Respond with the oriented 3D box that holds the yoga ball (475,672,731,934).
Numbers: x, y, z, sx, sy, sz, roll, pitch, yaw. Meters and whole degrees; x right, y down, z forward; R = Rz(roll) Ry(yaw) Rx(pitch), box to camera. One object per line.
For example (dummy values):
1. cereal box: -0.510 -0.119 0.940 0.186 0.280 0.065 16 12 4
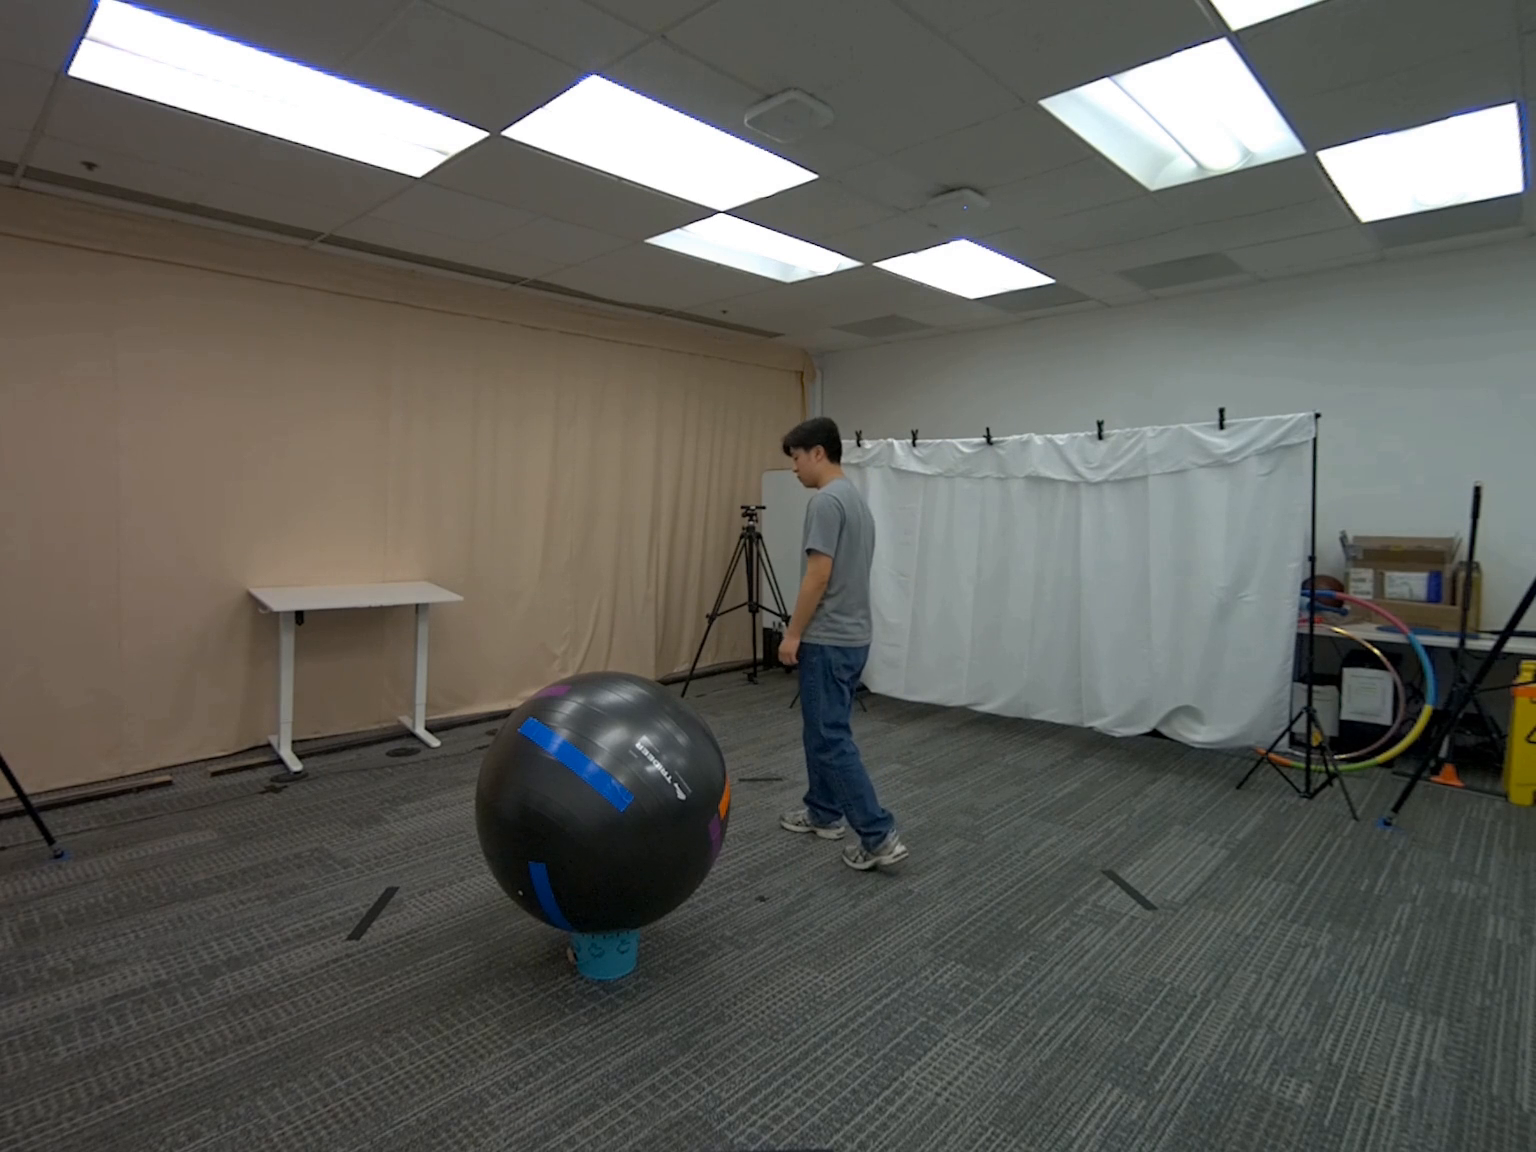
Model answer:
1. yoga ball: -0.497 0.673 2.546 0.757 0.756 0.760 0 4 -2
